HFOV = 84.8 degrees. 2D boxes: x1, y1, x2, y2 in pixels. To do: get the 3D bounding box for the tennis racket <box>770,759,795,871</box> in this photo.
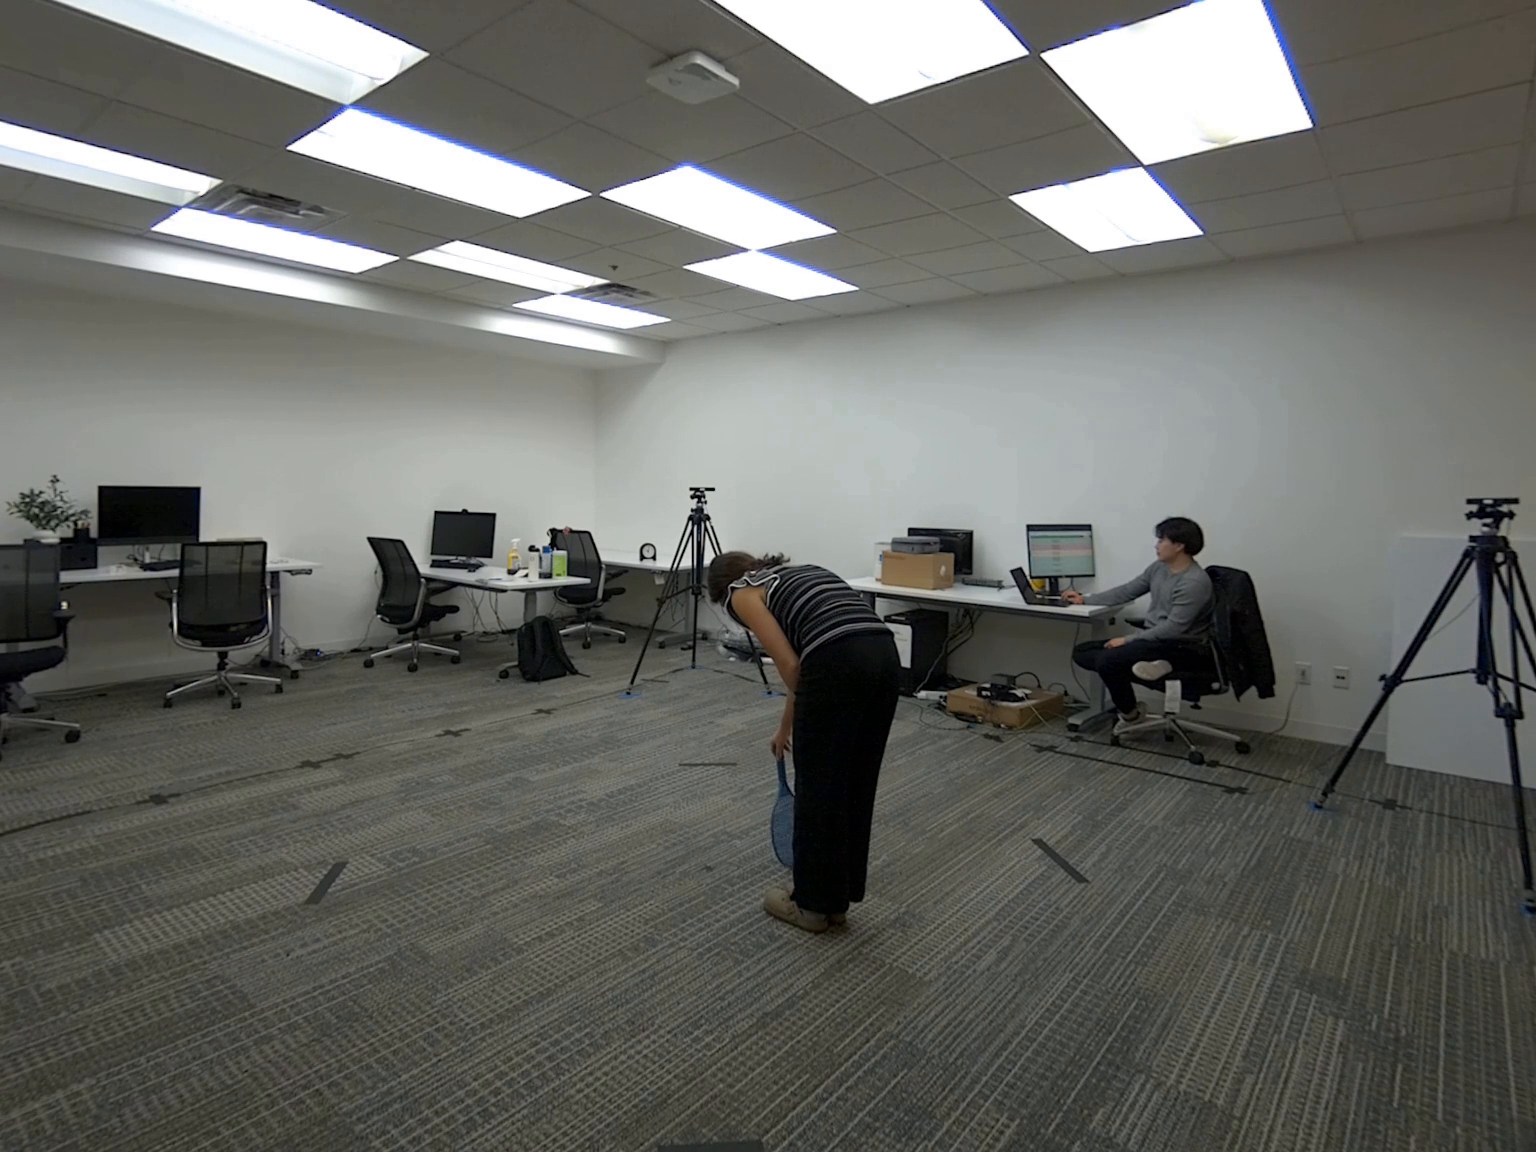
[{"bbox_3d":[0.054,0.851,3.161,0.032,0.437,0.206,-12,-11,33],"label":"tennis racket"}]
